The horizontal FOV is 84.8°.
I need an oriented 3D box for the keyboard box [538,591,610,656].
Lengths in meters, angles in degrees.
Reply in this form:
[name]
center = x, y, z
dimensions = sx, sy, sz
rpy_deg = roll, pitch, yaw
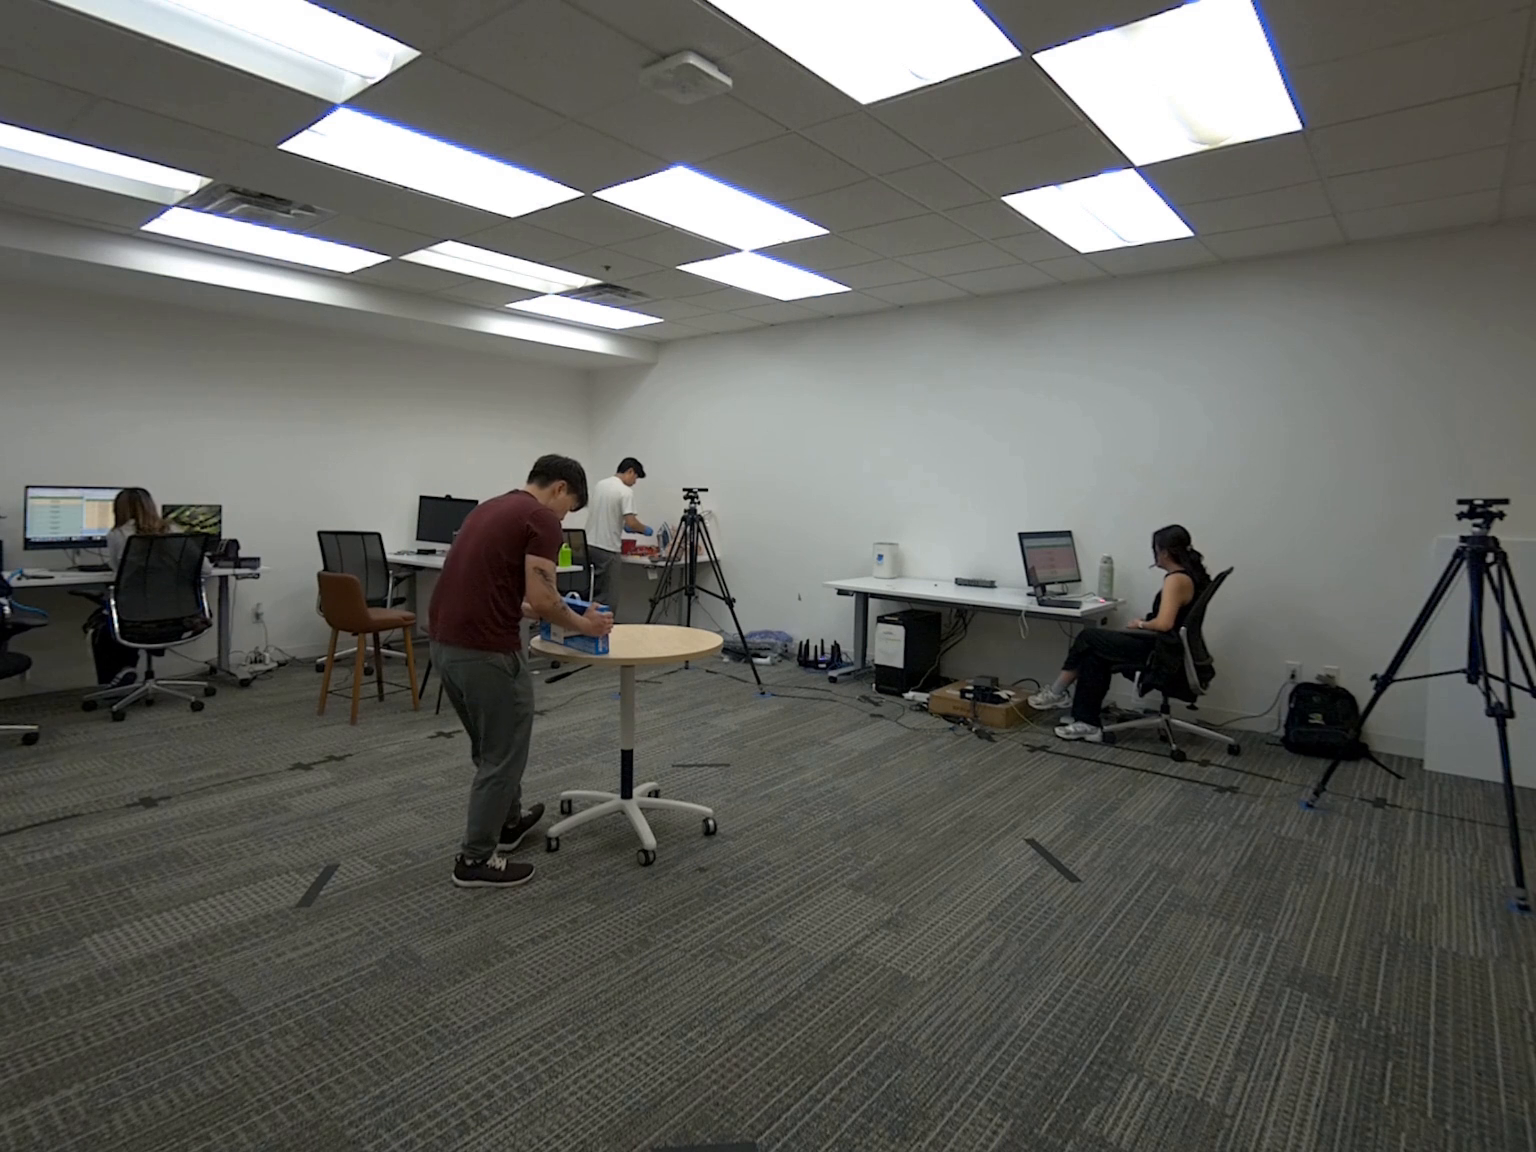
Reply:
[keyboard box]
center = -0.761, 0.187, 3.253
dimensions = 0.057, 0.175, 0.452
rpy_deg = -1, 5, -40
